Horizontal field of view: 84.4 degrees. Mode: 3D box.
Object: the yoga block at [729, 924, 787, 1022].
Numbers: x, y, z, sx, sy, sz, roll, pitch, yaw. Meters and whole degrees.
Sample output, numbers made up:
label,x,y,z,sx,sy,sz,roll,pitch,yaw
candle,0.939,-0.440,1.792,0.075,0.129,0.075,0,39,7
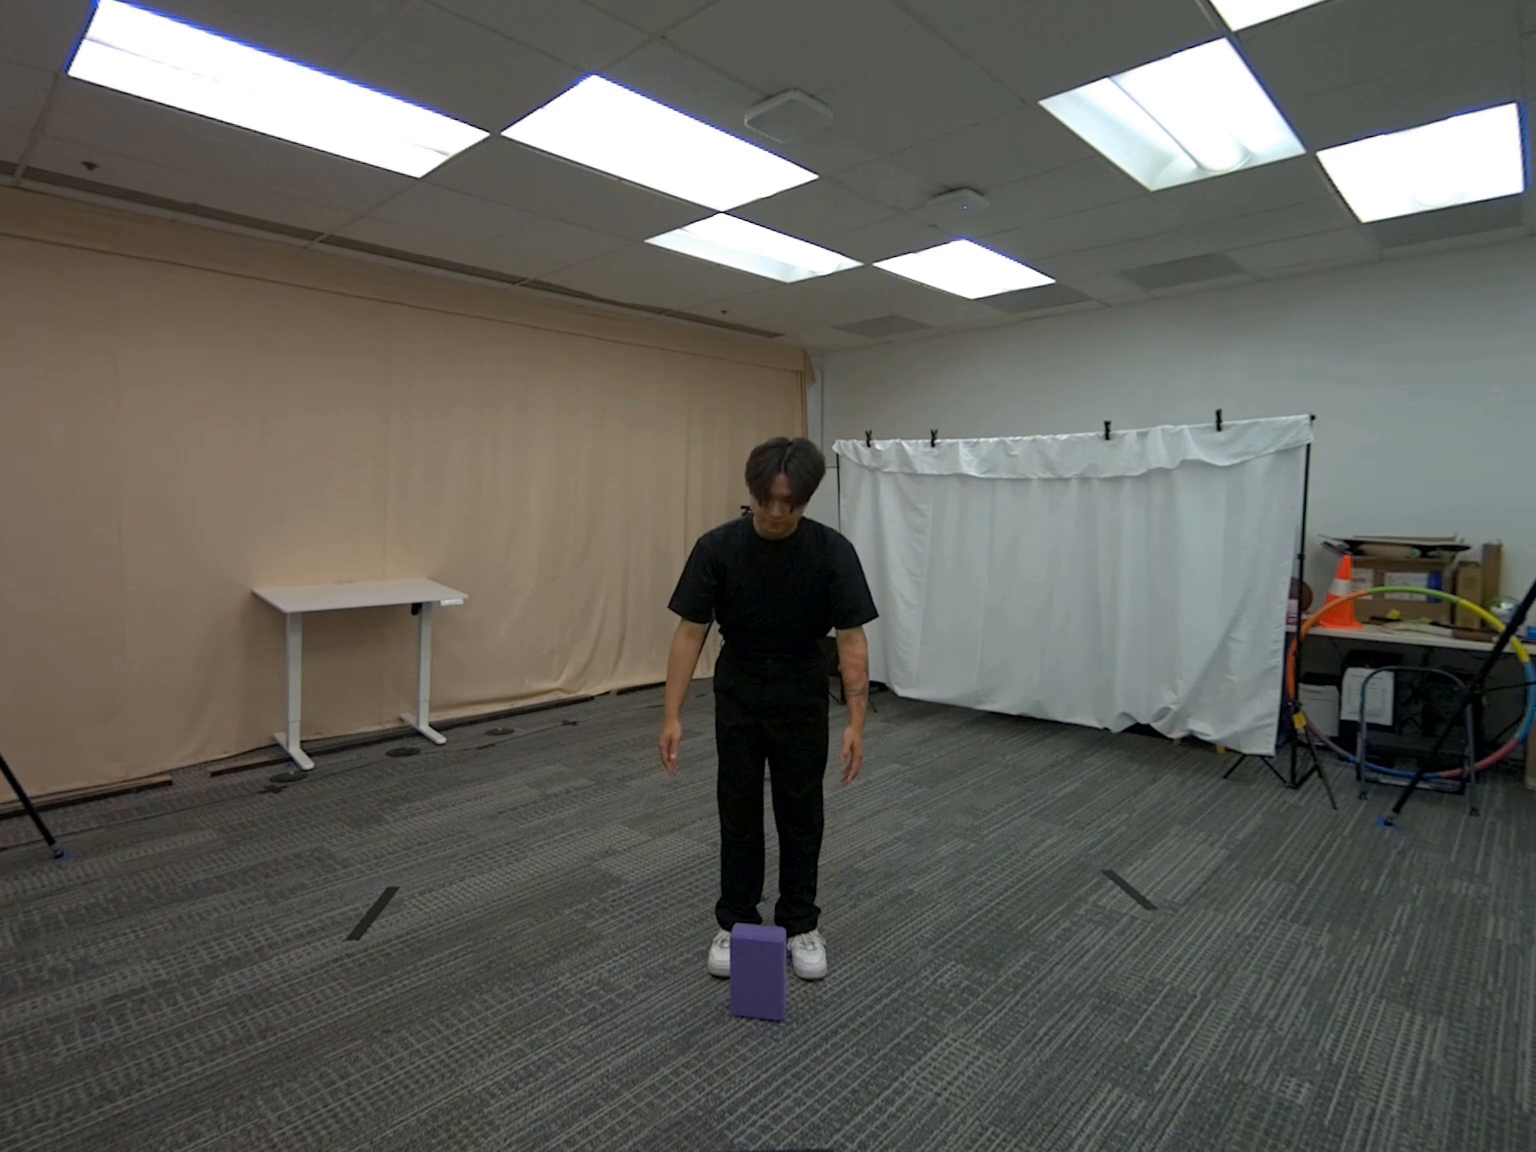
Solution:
label,x,y,z,sx,sy,sz,roll,pitch,yaw
yoga block,-0.023,1.084,2.310,0.150,0.229,0.076,0,4,9
